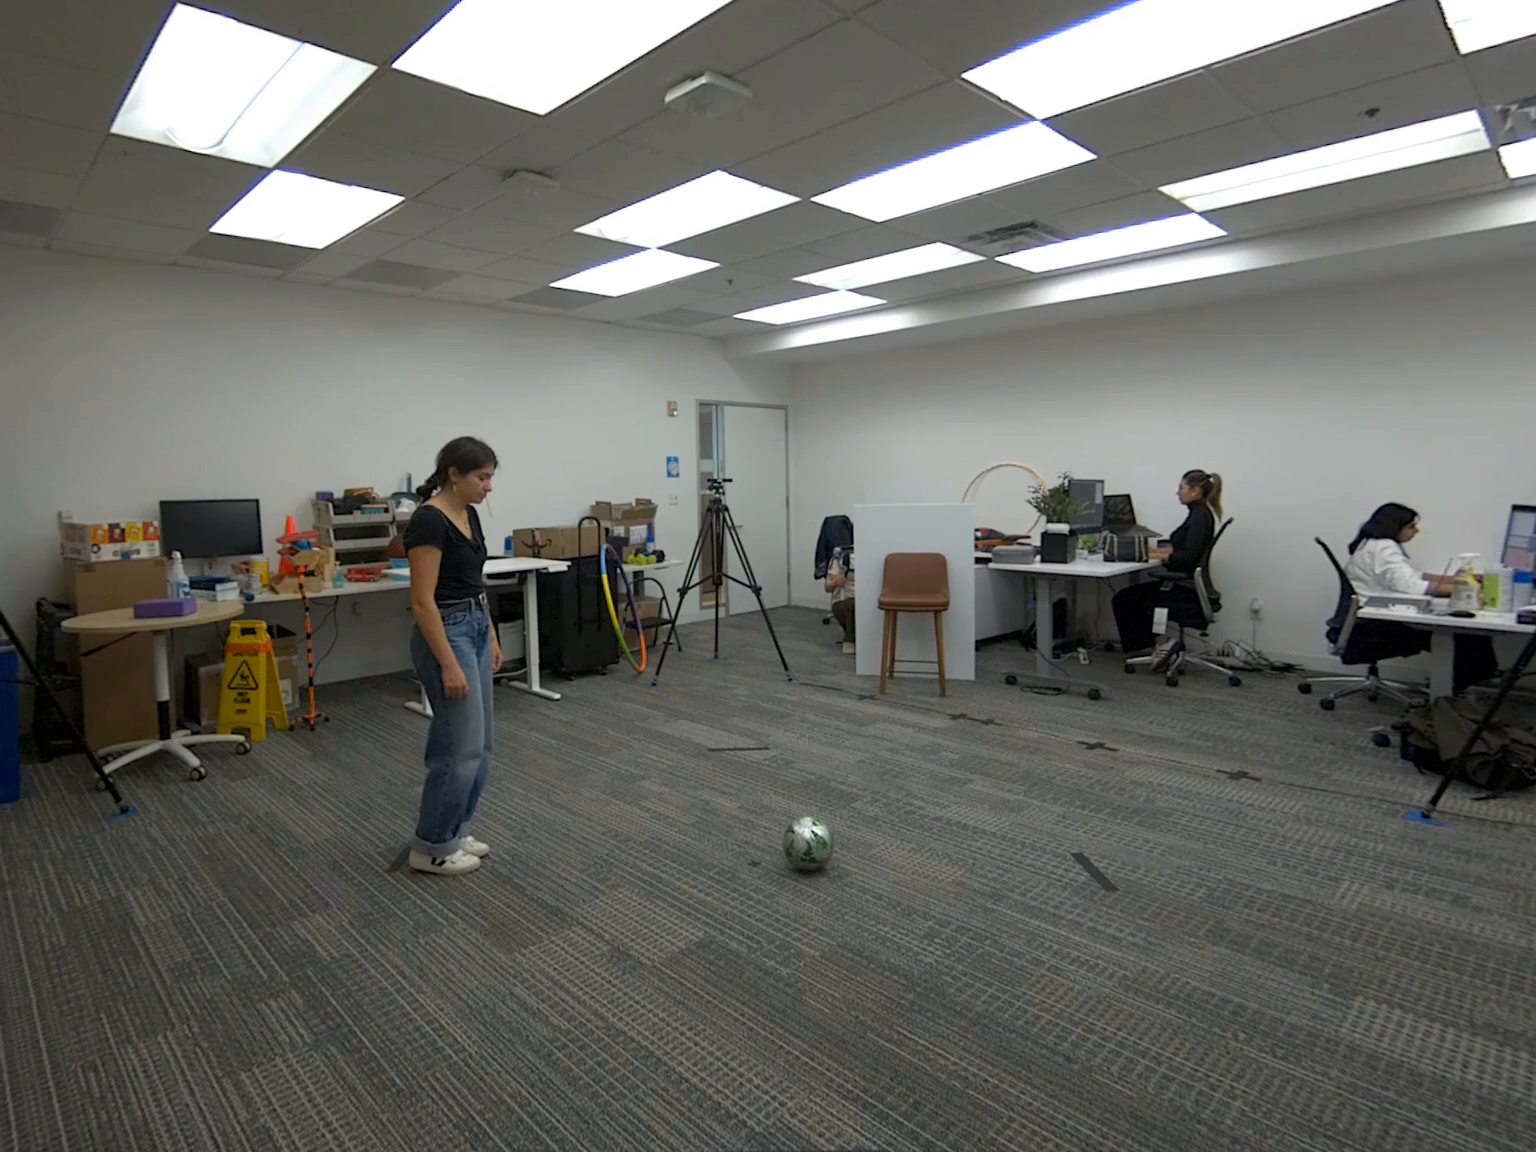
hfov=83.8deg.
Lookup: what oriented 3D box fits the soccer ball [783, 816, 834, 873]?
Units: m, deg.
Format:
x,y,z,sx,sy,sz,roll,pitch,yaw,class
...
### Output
x,y,z,sx,sy,sz,roll,pitch,yaw,class
0.143,0.953,3.046,0.187,0.187,0.188,-1,5,-2,soccer ball
